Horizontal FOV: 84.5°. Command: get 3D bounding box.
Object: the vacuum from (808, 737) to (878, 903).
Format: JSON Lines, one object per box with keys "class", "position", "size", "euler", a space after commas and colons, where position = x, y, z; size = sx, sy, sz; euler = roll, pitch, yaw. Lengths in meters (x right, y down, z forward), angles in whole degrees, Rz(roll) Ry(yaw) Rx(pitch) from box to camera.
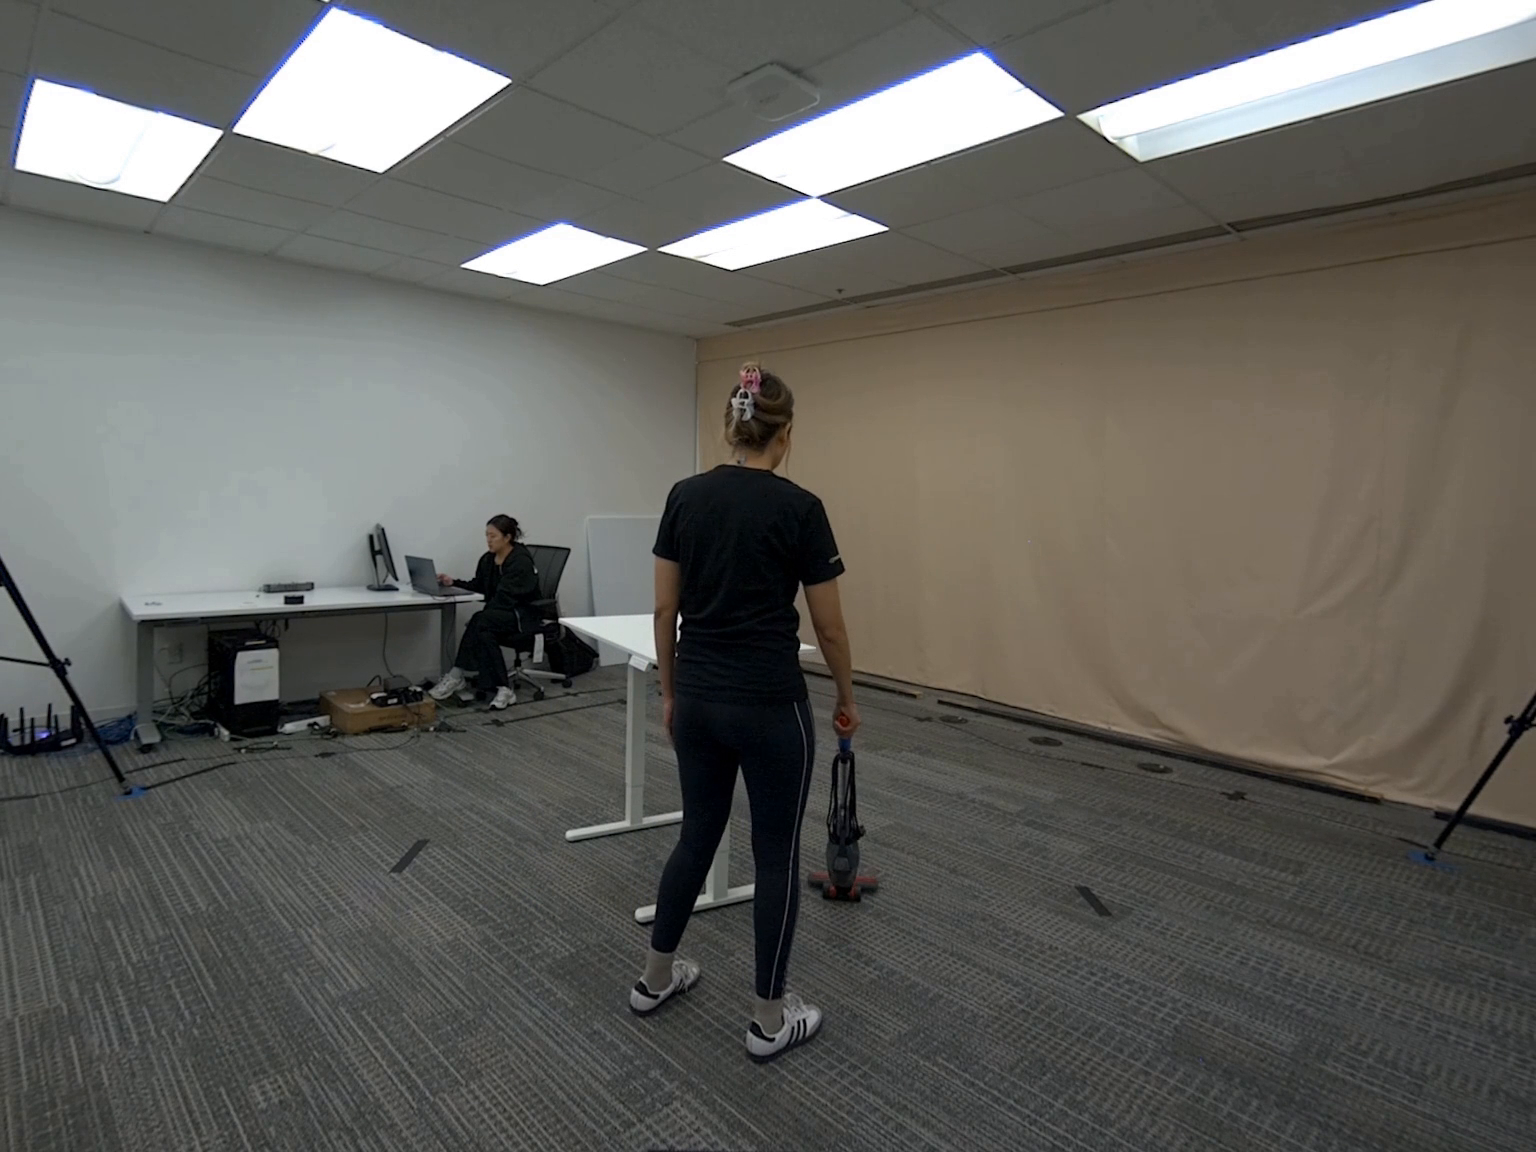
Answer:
{"class": "vacuum", "position": [0.229, 0.752, 2.619], "size": [0.255, 1.024, 0.146], "euler": [7, 46, 11]}
